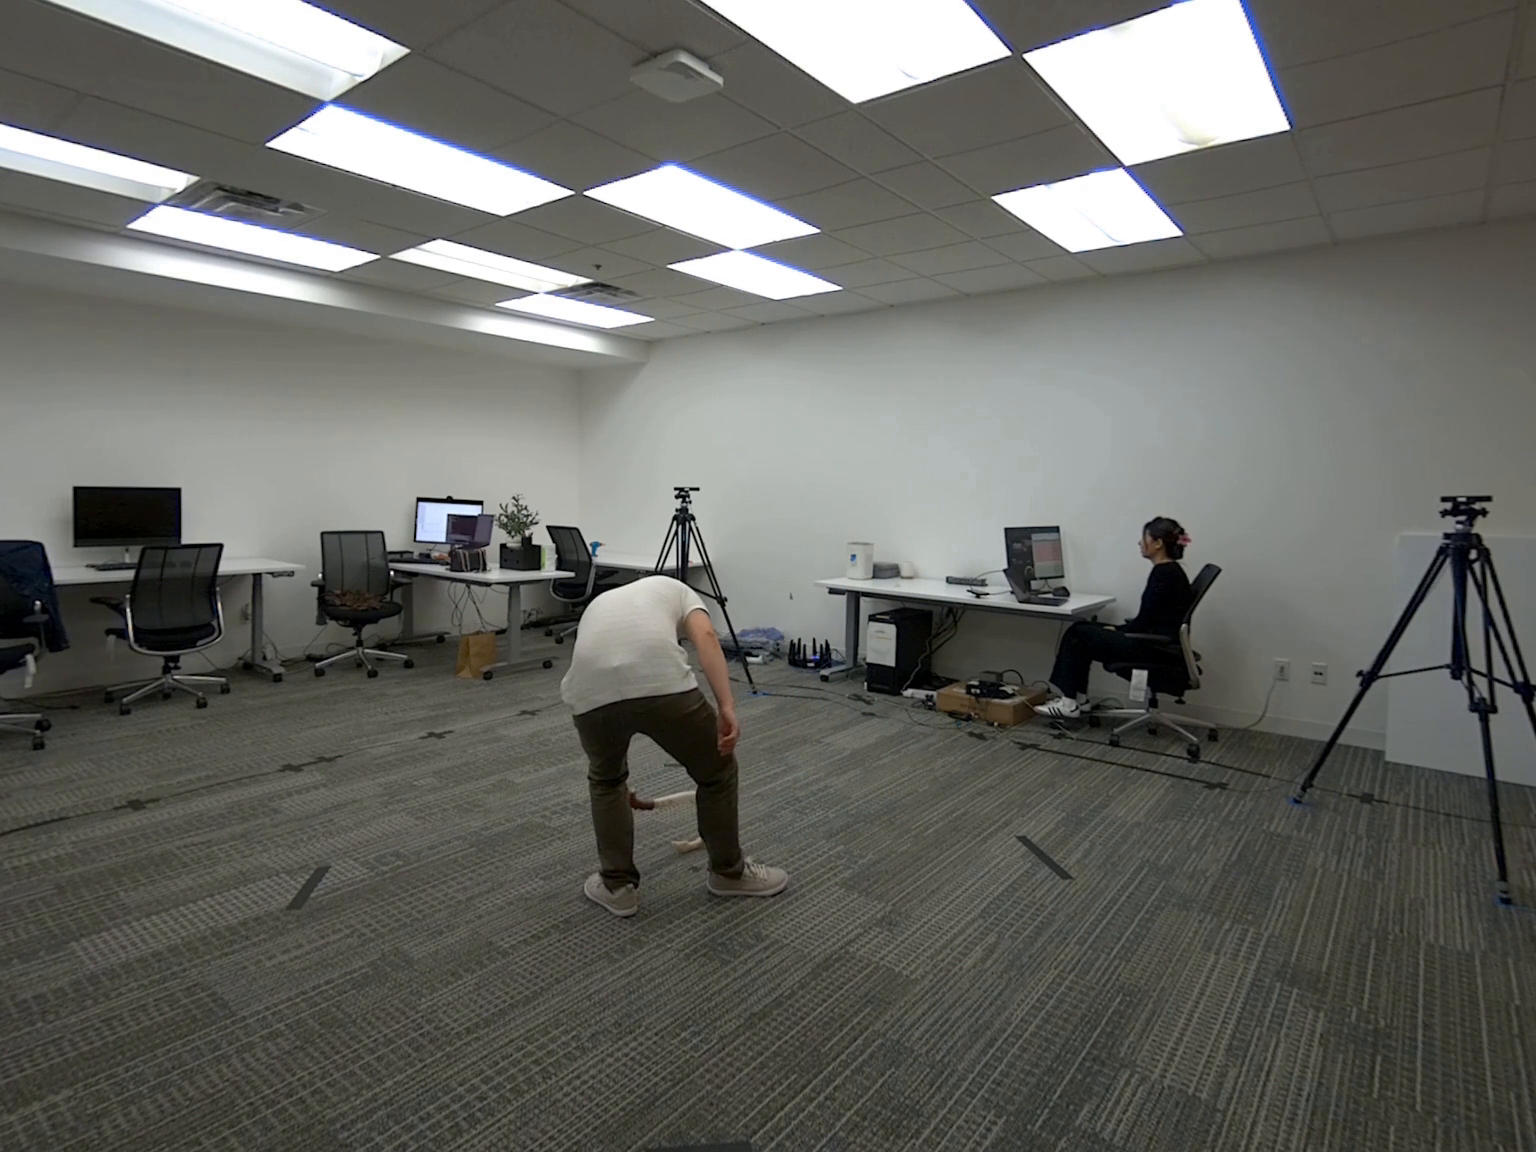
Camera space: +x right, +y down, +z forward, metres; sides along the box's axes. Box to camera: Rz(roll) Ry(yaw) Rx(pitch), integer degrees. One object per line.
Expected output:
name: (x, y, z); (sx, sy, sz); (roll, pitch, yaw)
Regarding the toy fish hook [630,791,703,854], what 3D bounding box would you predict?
toy fish hook: (-0.407, 0.914, 3.205); (0.491, 0.227, 0.049); (14, -15, -29)
